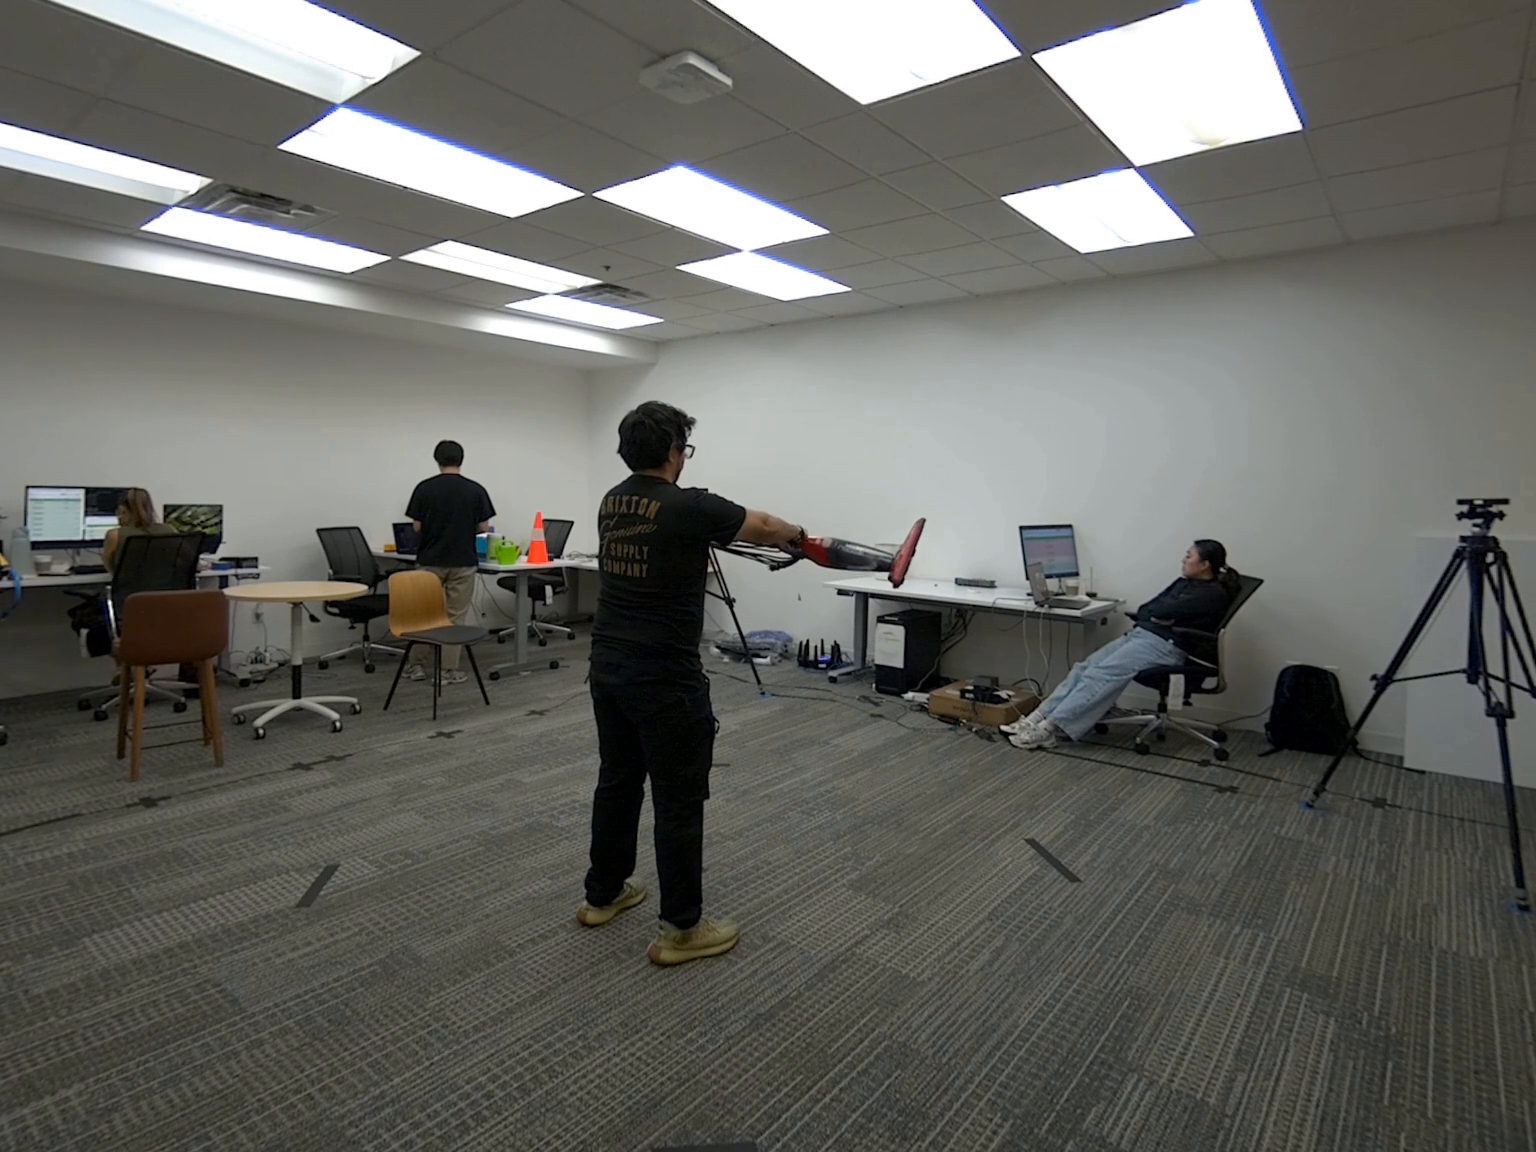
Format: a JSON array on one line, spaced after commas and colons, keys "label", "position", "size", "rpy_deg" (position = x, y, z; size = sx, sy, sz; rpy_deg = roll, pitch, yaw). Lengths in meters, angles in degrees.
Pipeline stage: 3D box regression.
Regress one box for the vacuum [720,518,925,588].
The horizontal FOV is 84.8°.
[{"label": "vacuum", "position": [0.024, -0.106, 3.056], "size": [1.085, 0.254, 0.138], "rpy_deg": [7, -33, 37]}]
